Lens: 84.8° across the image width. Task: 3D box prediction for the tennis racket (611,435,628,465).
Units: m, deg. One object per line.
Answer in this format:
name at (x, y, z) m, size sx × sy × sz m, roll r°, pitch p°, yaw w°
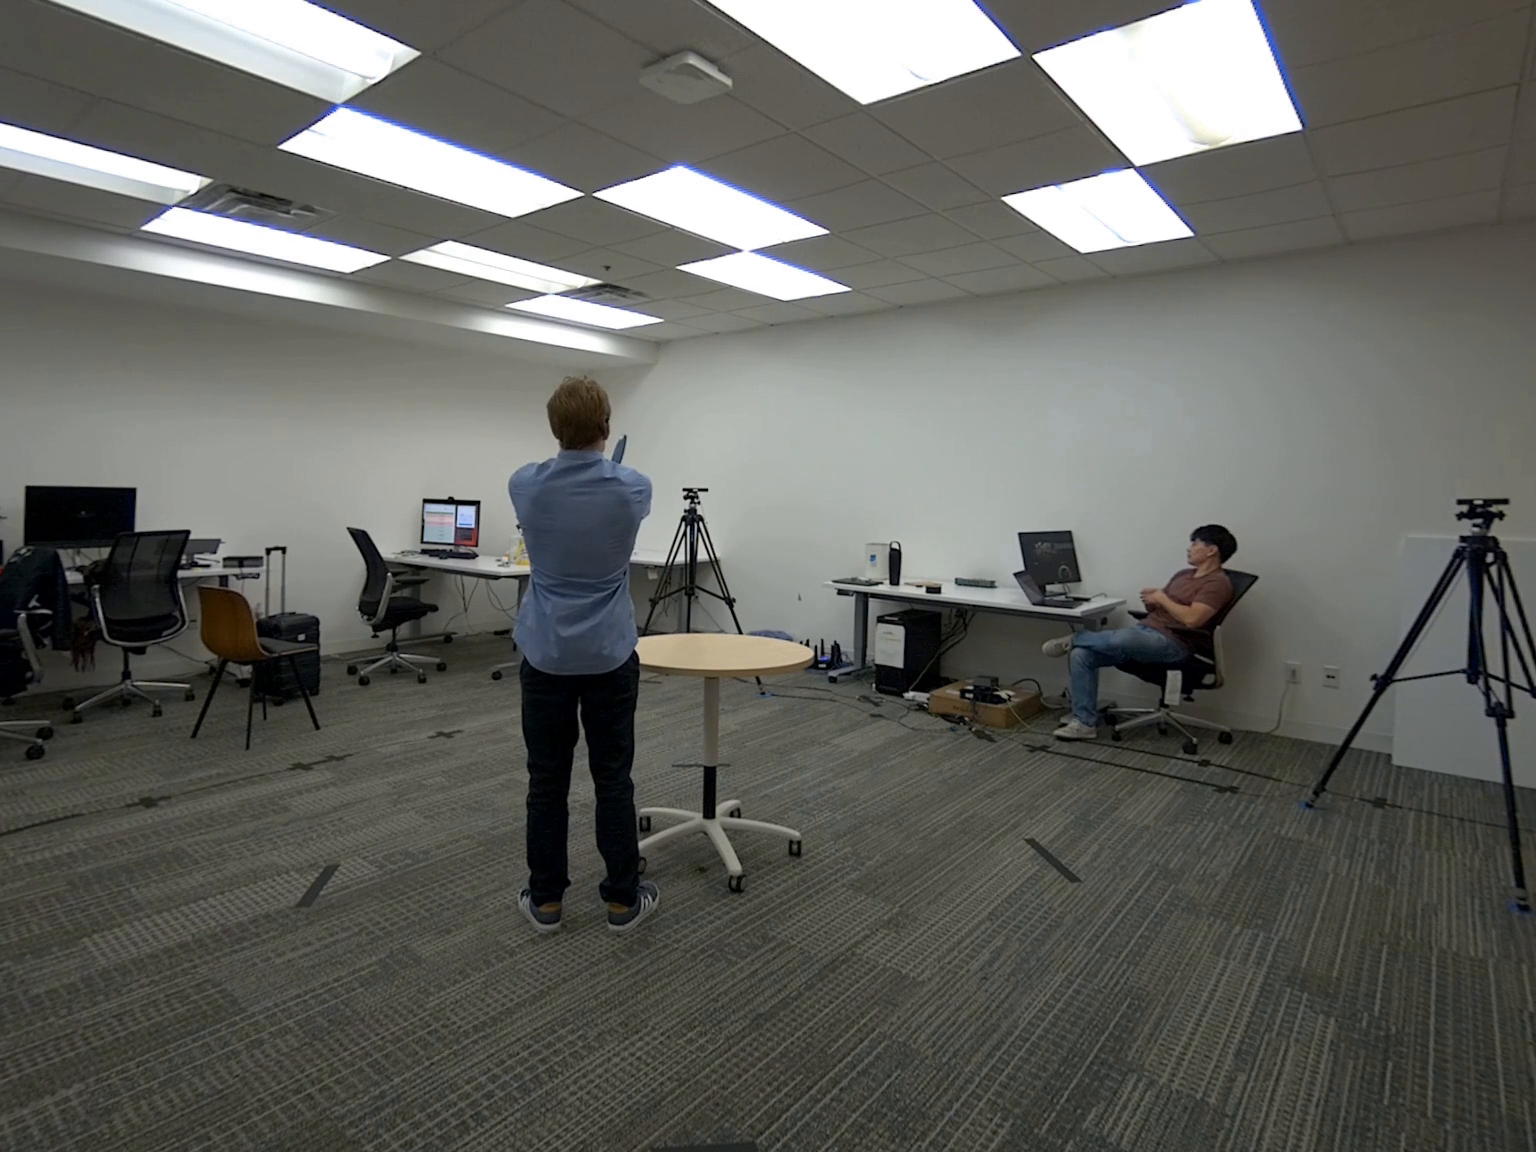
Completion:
tennis racket at (-0.635, -0.418, 3.372) m, size 0.032 × 0.210 × 0.440 m, roll 16°, pitch 37°, yaw 0°
